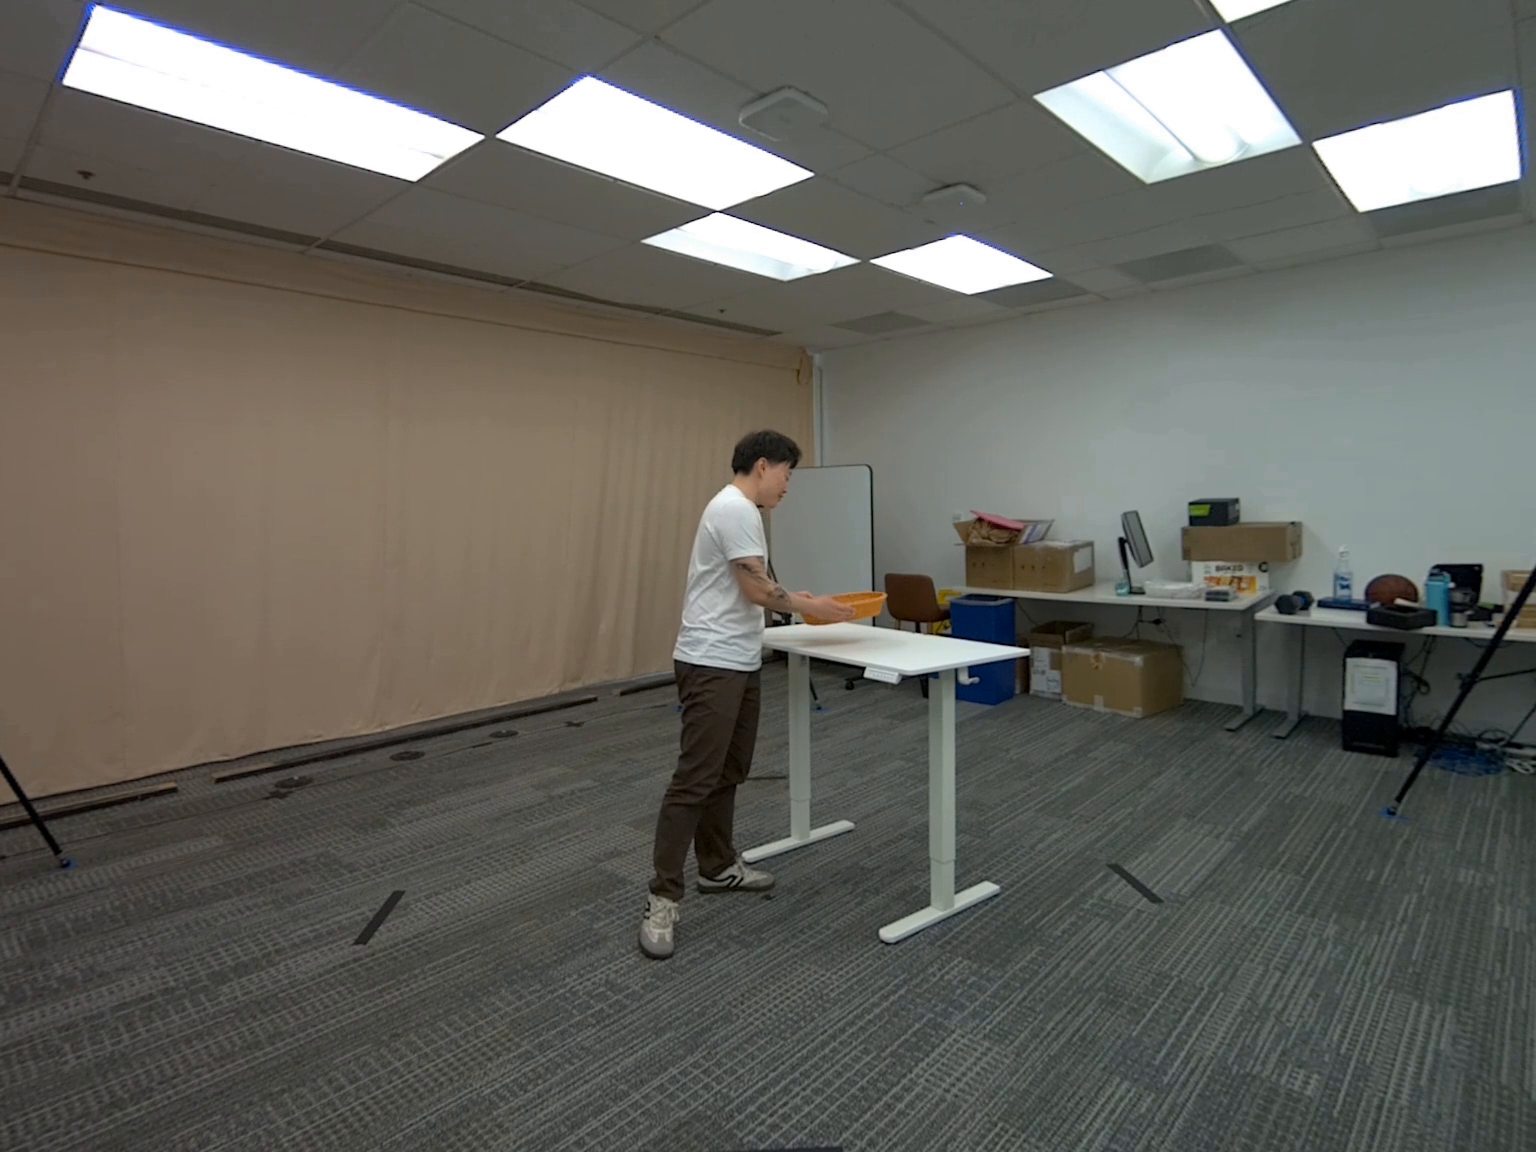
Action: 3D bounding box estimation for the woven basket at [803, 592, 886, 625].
[{"bbox_3d":[0.267,0.130,3.077,0.347,0.073,0.256,-7,5,-11],"label":"woven basket"}]
